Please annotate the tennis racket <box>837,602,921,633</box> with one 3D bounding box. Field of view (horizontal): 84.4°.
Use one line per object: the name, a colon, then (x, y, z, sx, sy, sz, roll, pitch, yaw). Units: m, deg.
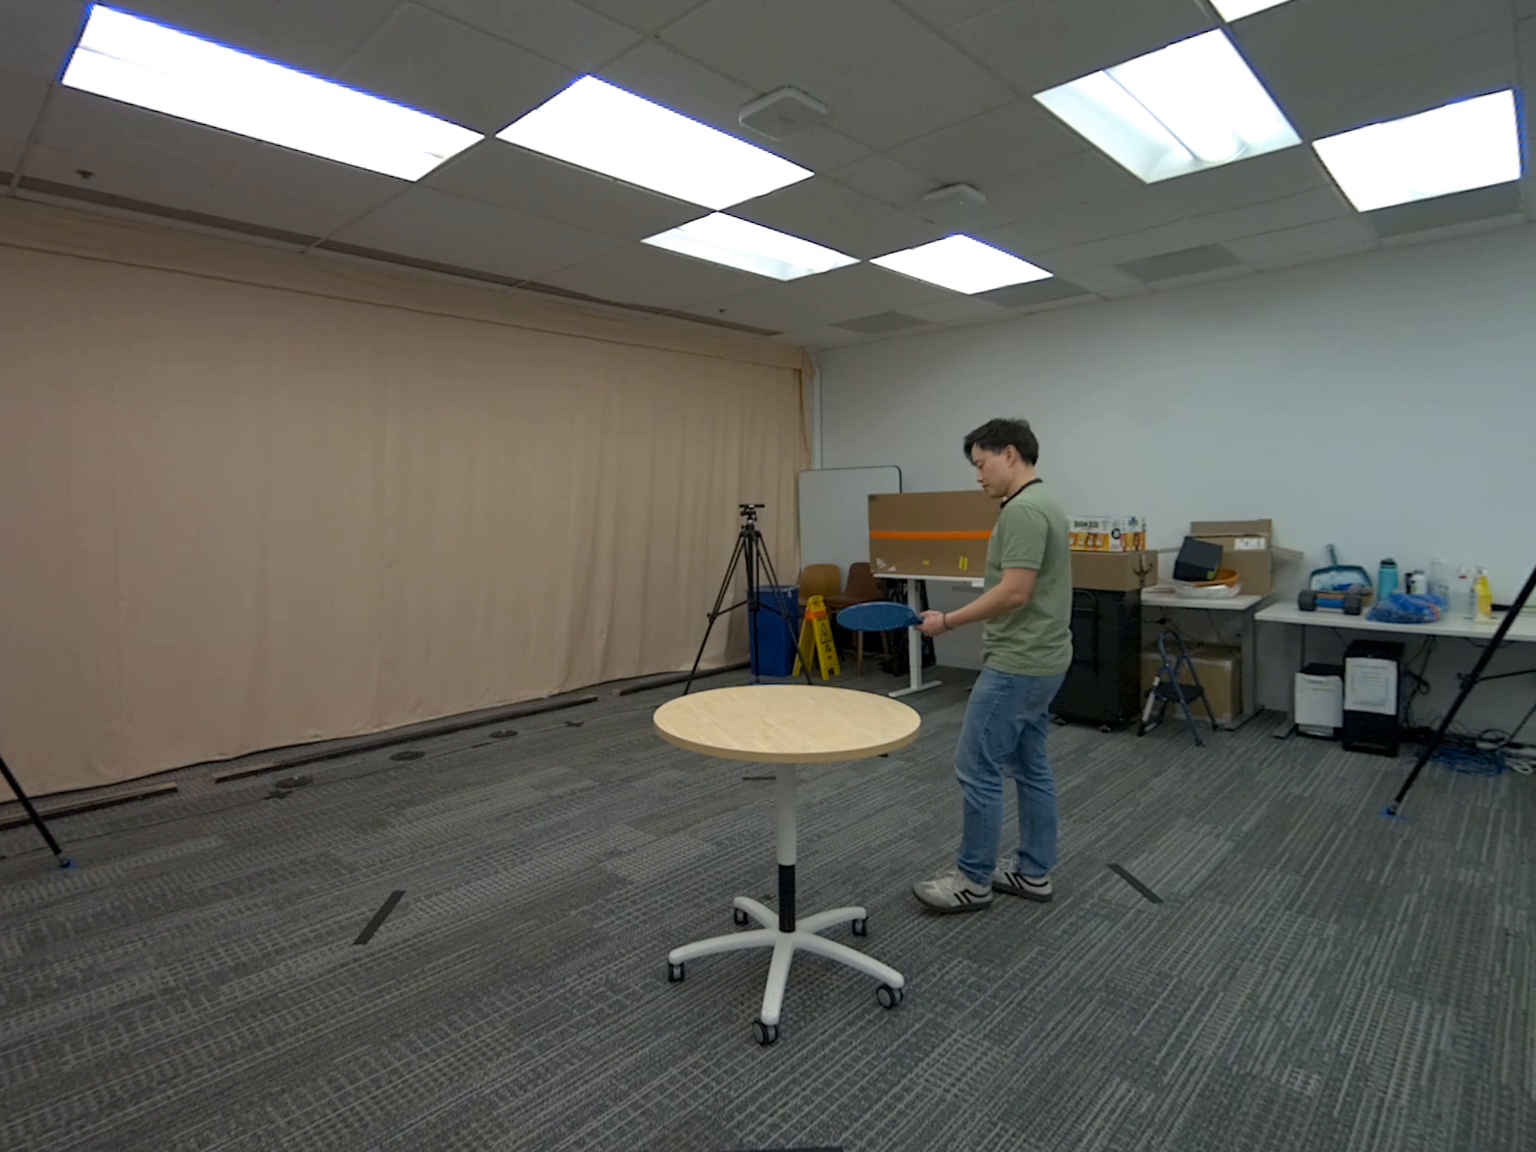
tennis racket: (0.437, 0.150, 2.773, 0.422, 0.032, 0.216, 11, -27, -24)
